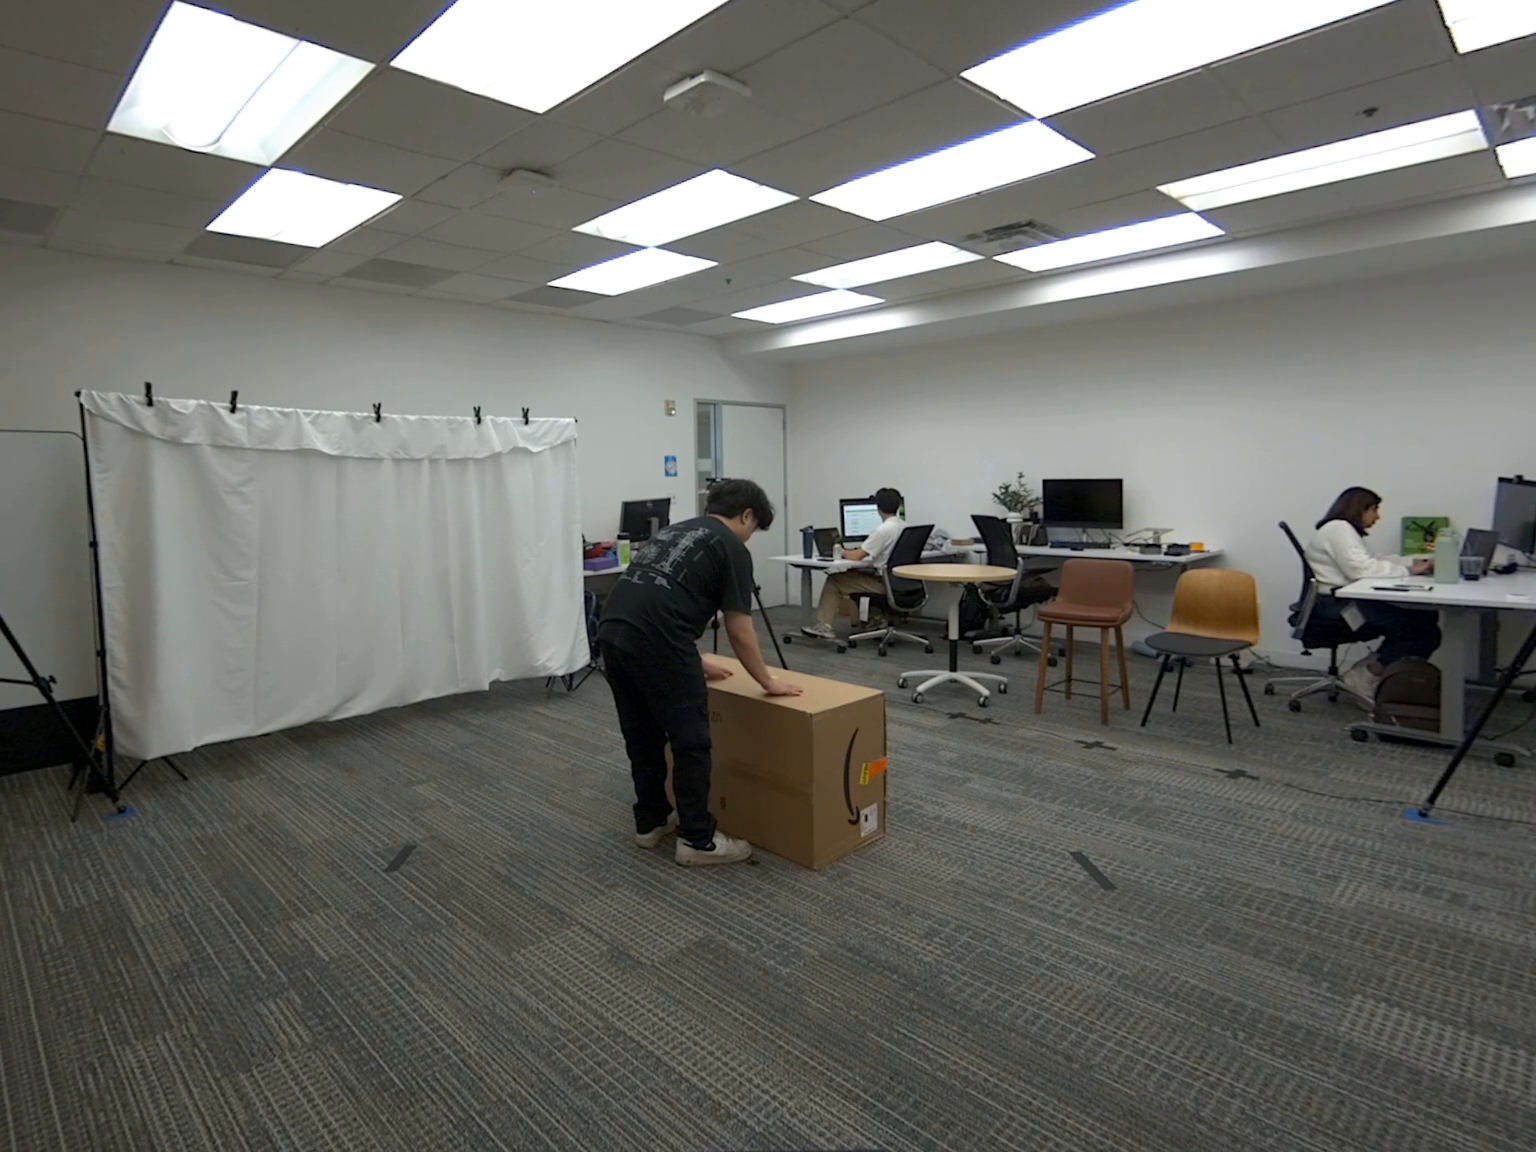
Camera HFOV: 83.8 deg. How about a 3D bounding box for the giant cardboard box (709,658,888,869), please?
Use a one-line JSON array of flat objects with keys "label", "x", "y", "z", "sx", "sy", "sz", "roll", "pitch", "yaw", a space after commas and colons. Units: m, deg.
[{"label": "giant cardboard box", "x": -0.054, "y": 0.709, "z": 3.531, "sx": 0.435, "sy": 0.582, "sz": 1.059, "roll": -4, "pitch": 7, "yaw": -44}]
